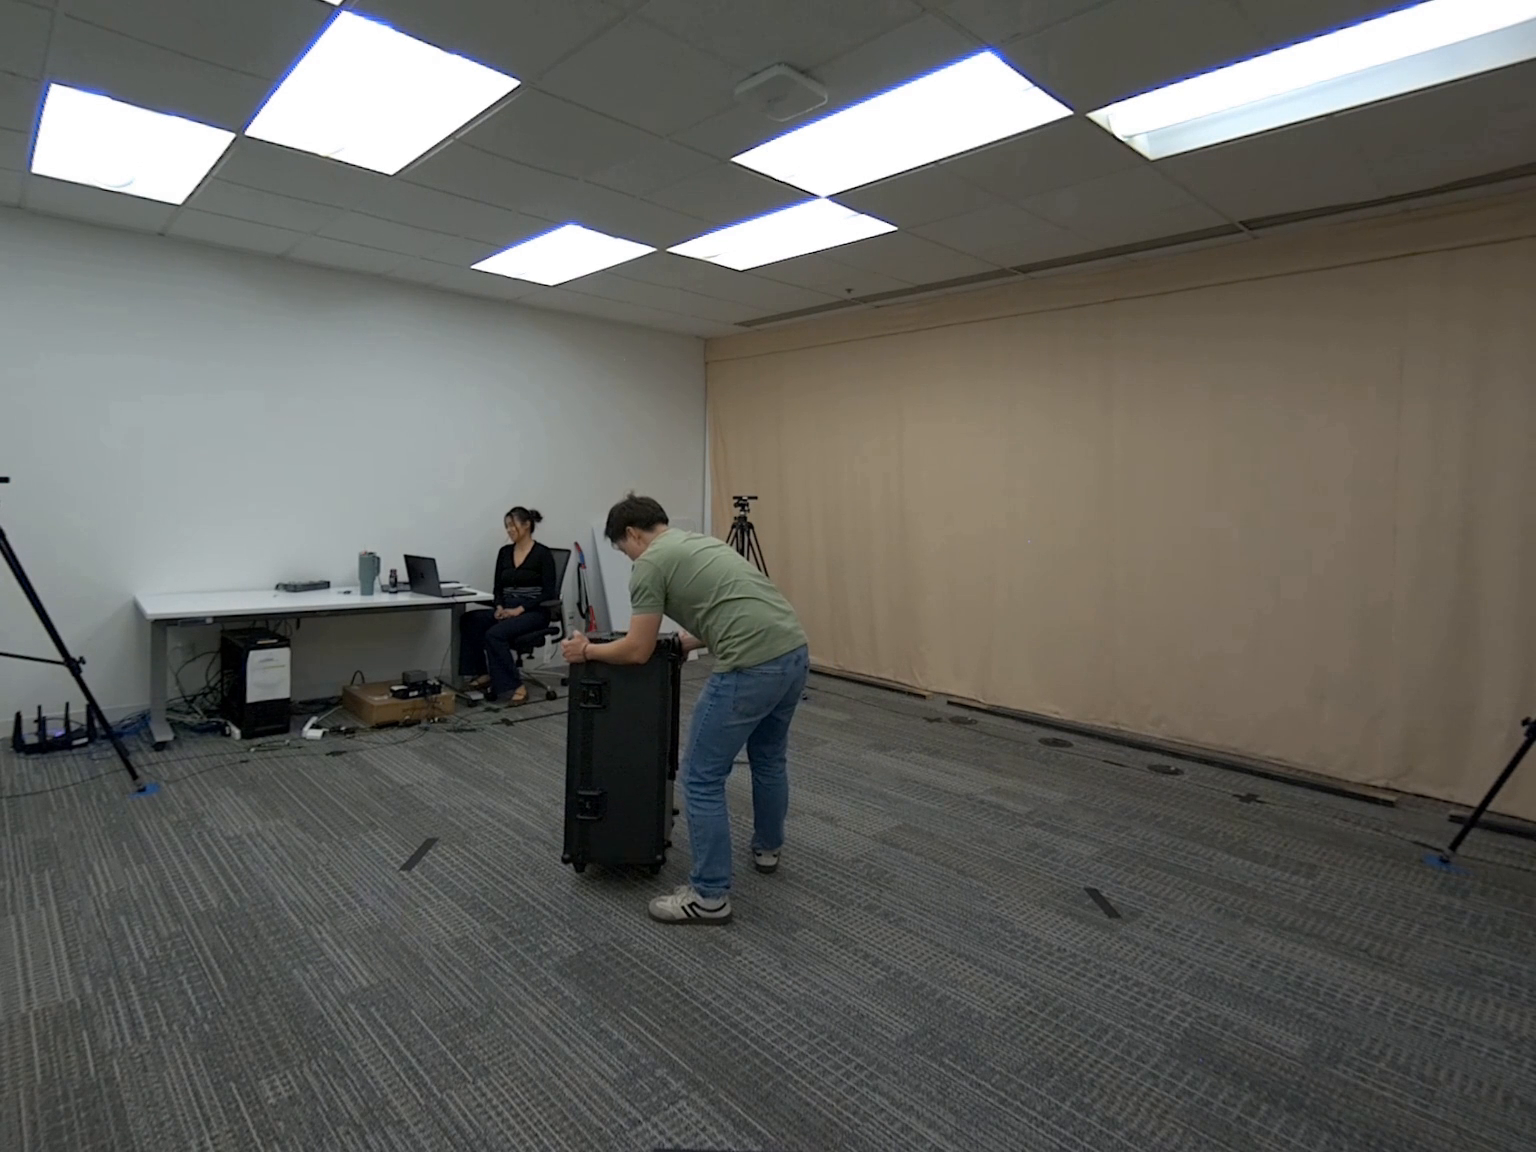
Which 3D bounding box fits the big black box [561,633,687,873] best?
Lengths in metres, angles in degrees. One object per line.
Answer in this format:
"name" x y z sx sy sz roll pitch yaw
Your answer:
"big black box" -0.541 0.598 3.186 0.397 0.863 0.519 0 -3 1
